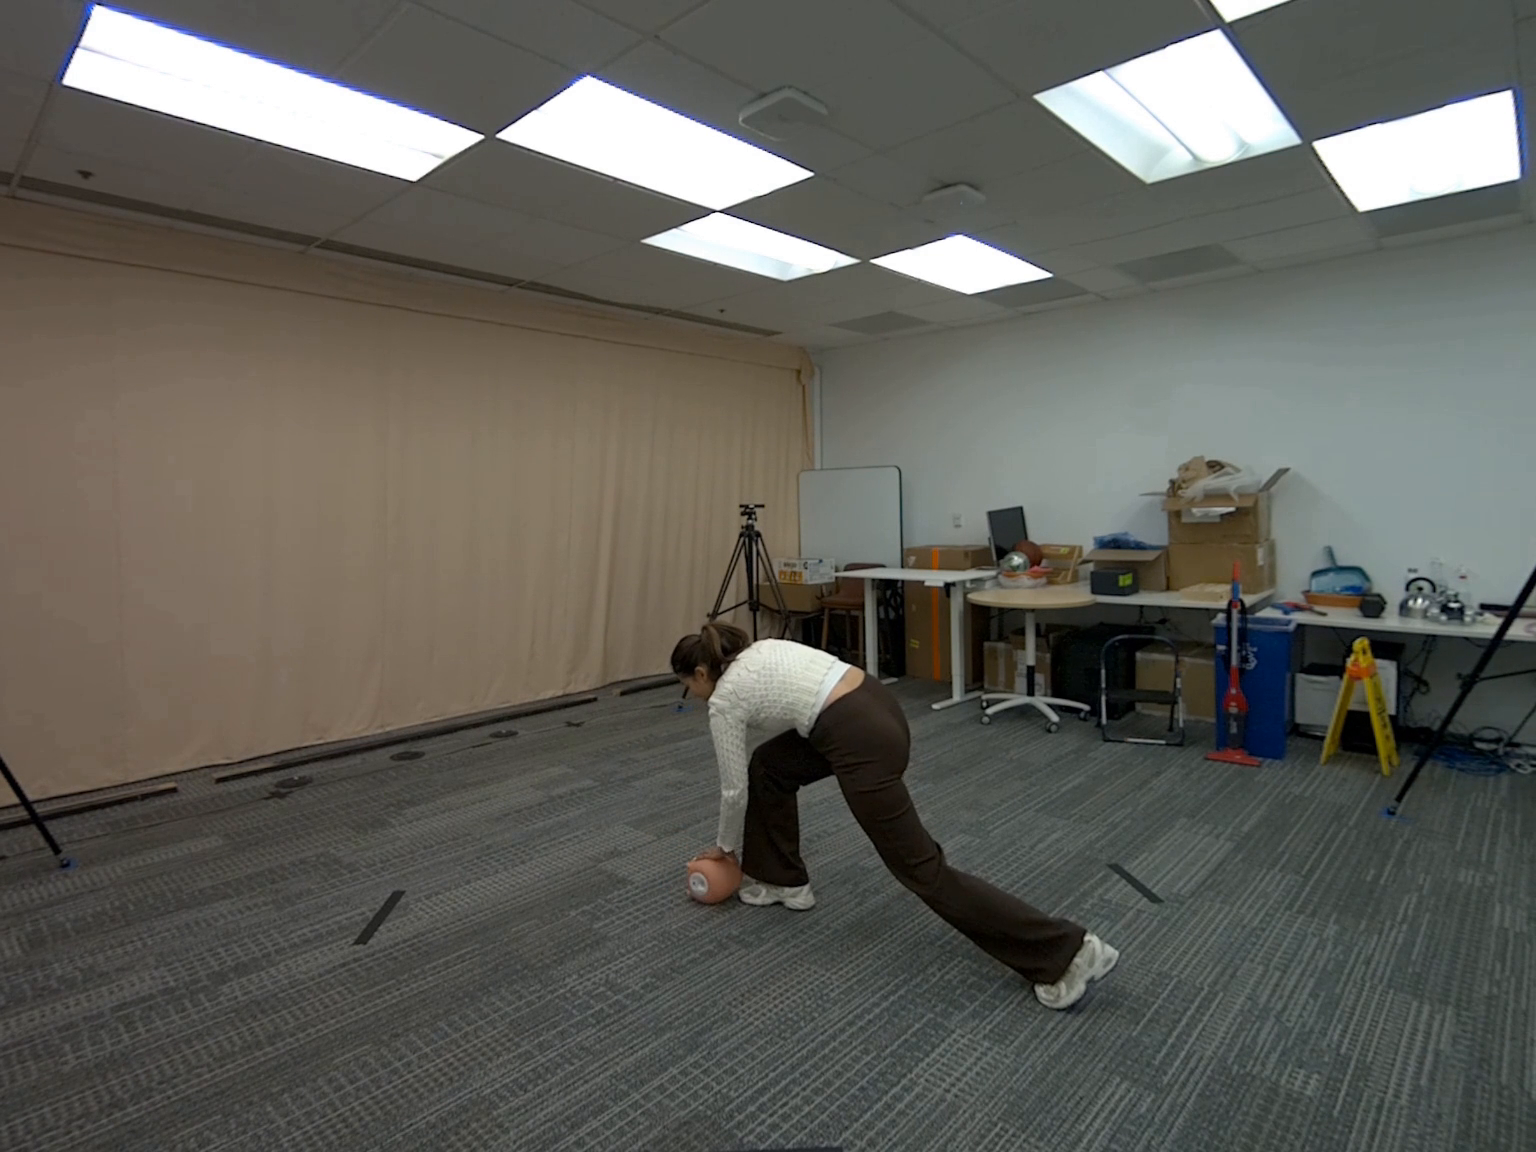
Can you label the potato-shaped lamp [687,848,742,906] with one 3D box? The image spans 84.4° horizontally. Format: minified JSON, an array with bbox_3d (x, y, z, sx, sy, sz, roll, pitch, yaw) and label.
[{"bbox_3d":[-0.180,1.058,2.980,0.177,0.164,0.193,-1,7,36],"label":"potato-shaped lamp"}]
